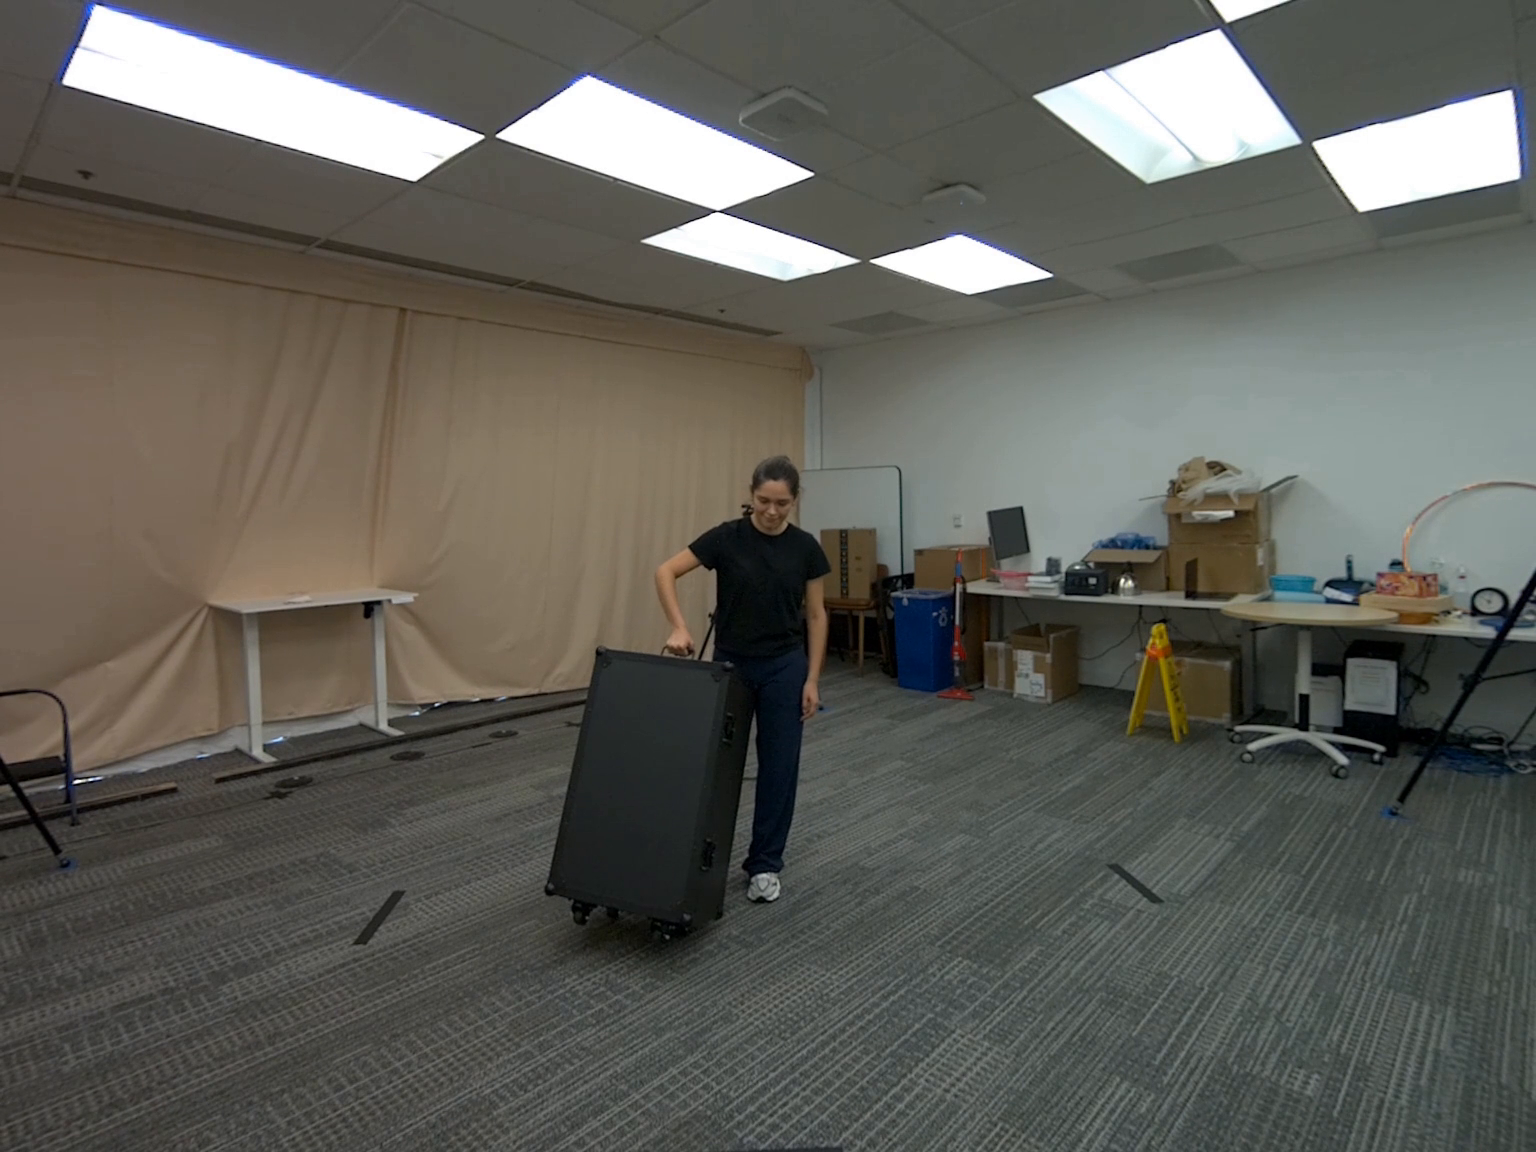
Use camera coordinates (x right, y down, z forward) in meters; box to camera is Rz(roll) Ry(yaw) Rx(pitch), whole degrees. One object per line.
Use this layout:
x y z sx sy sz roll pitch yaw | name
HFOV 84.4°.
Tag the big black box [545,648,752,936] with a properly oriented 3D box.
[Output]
-0.365 0.720 2.803 0.532 0.868 0.385 4 -18 17 | big black box
